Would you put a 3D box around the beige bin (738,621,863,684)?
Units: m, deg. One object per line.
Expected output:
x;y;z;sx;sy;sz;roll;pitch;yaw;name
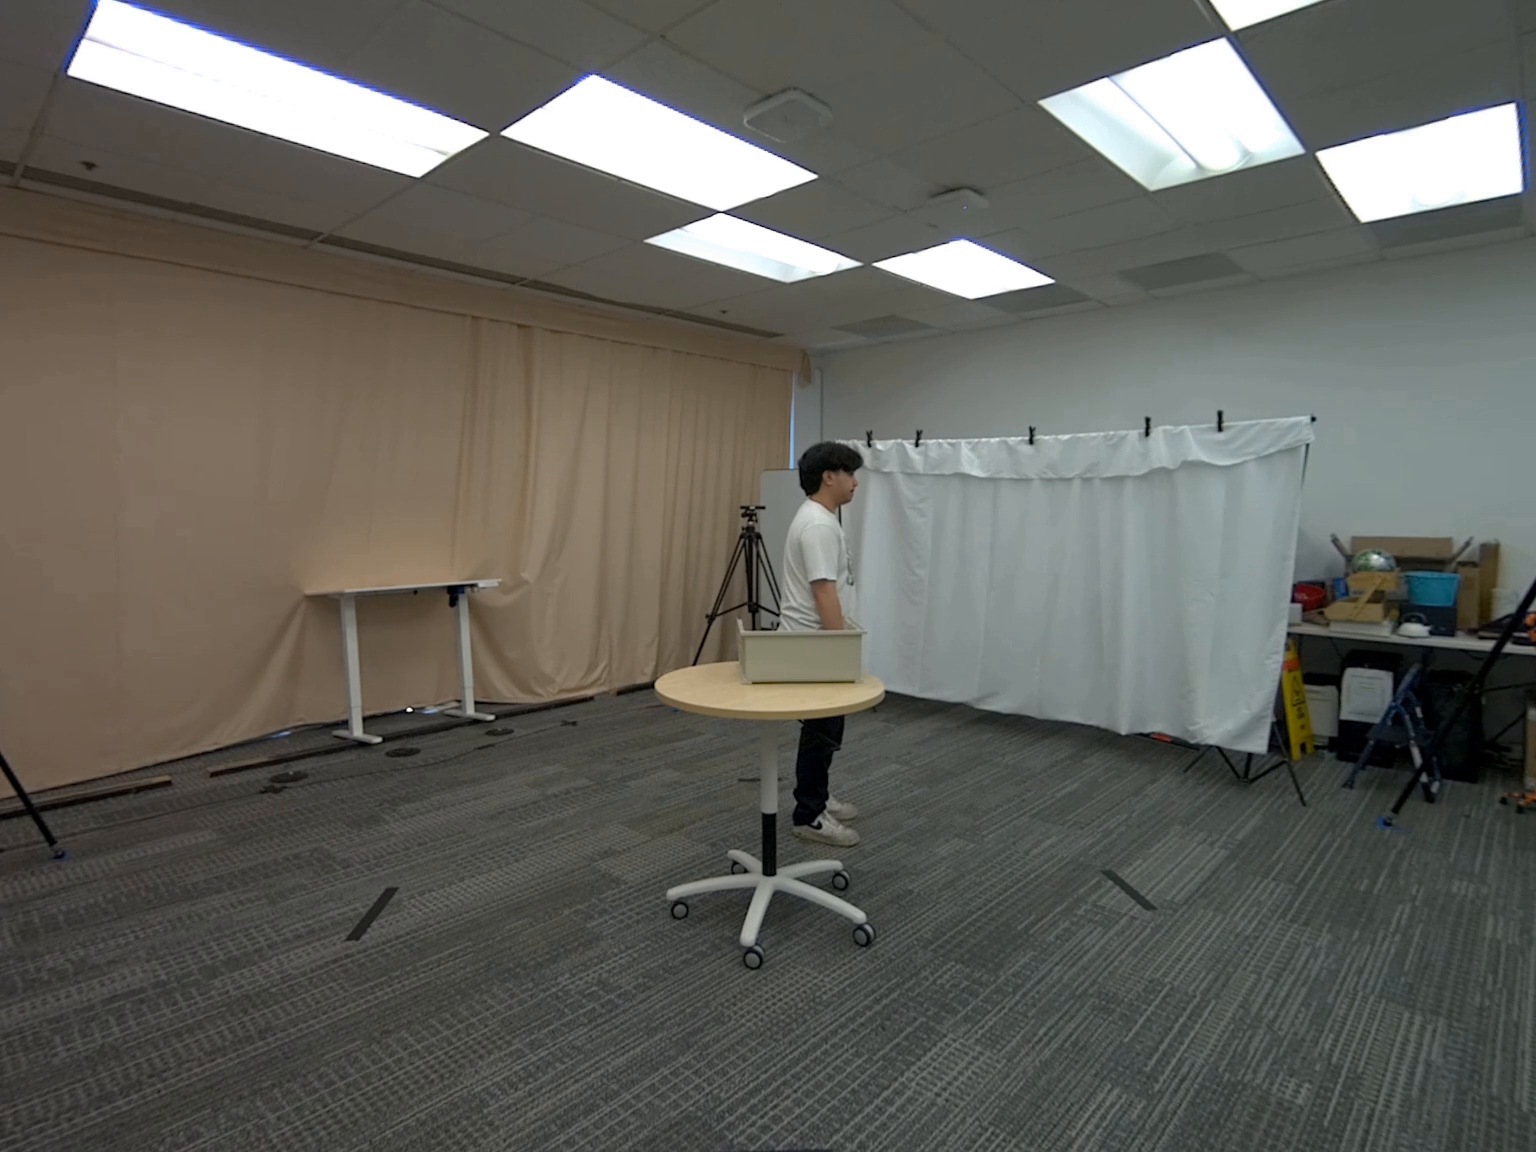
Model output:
0.102;0.254;2.972;0.422;0.188;0.379;0;6;-2;beige bin
